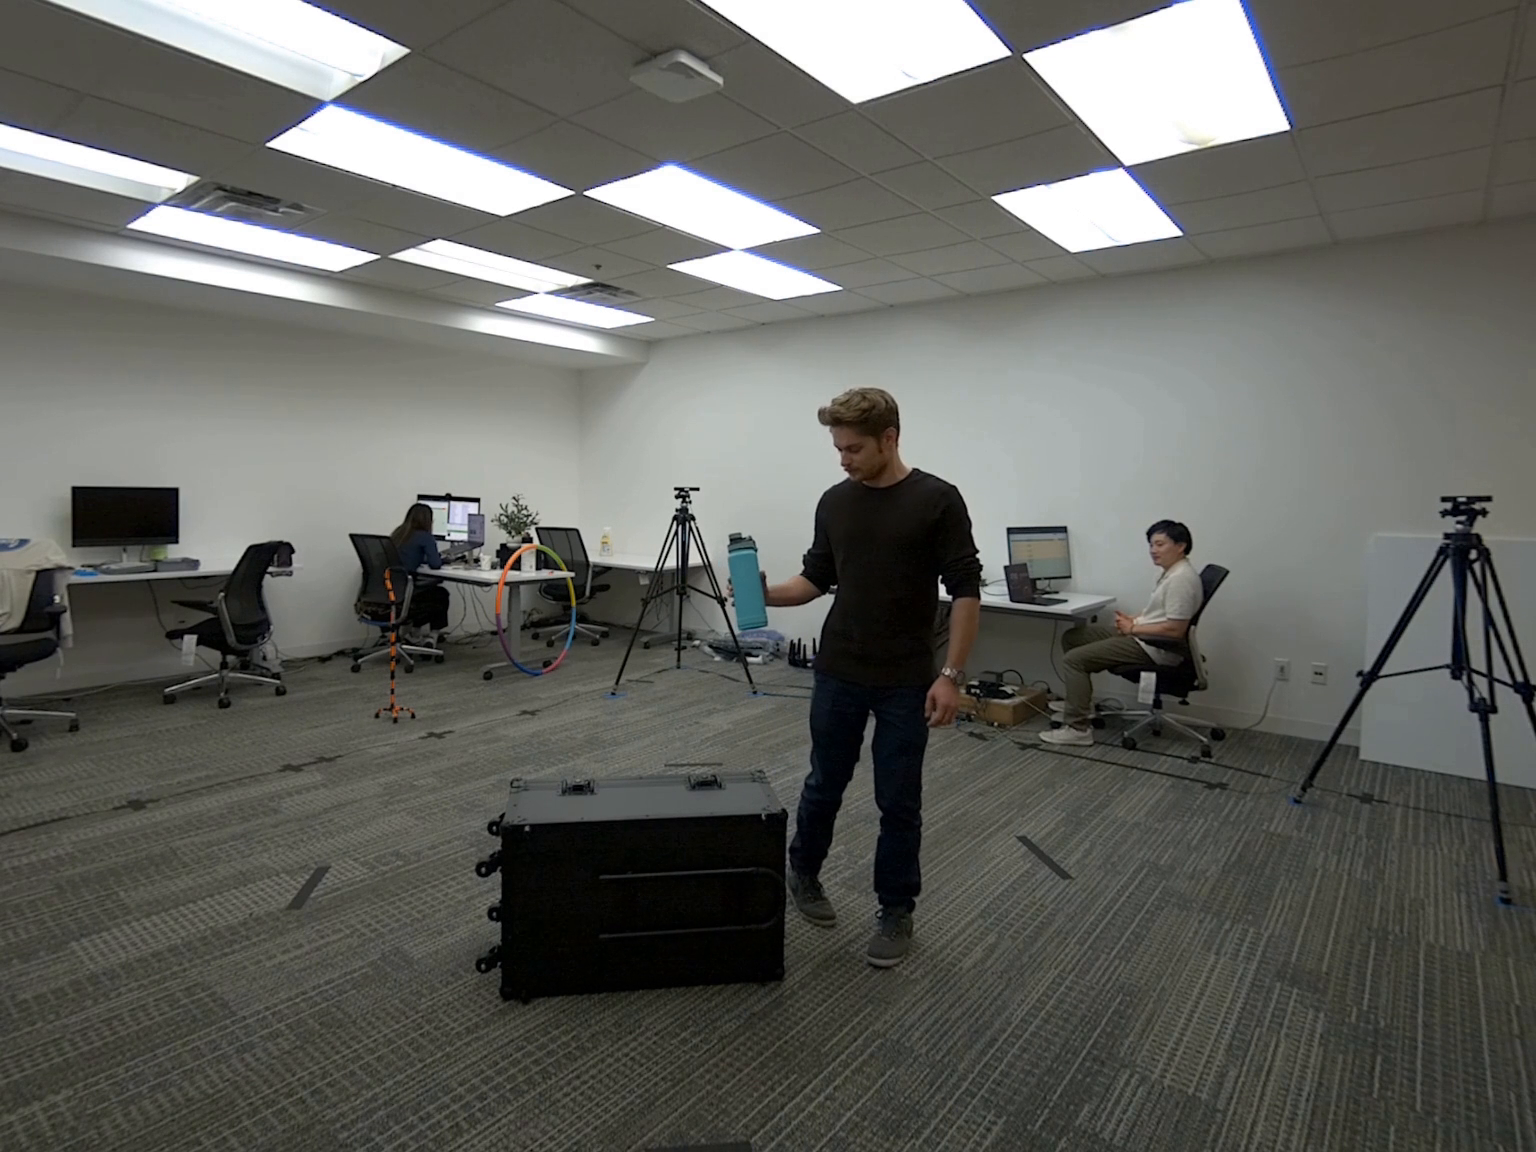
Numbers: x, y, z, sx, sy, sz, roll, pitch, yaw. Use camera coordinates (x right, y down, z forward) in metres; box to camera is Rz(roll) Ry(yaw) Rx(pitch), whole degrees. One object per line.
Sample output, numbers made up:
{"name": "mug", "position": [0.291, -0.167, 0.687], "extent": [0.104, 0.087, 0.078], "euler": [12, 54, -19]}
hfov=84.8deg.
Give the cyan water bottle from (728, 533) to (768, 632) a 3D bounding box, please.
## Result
{"name": "cyan water bottle", "position": [-0.068, 0.012, 2.516], "extent": [0.092, 0.286, 0.091], "euler": [-8, -9, -3]}
